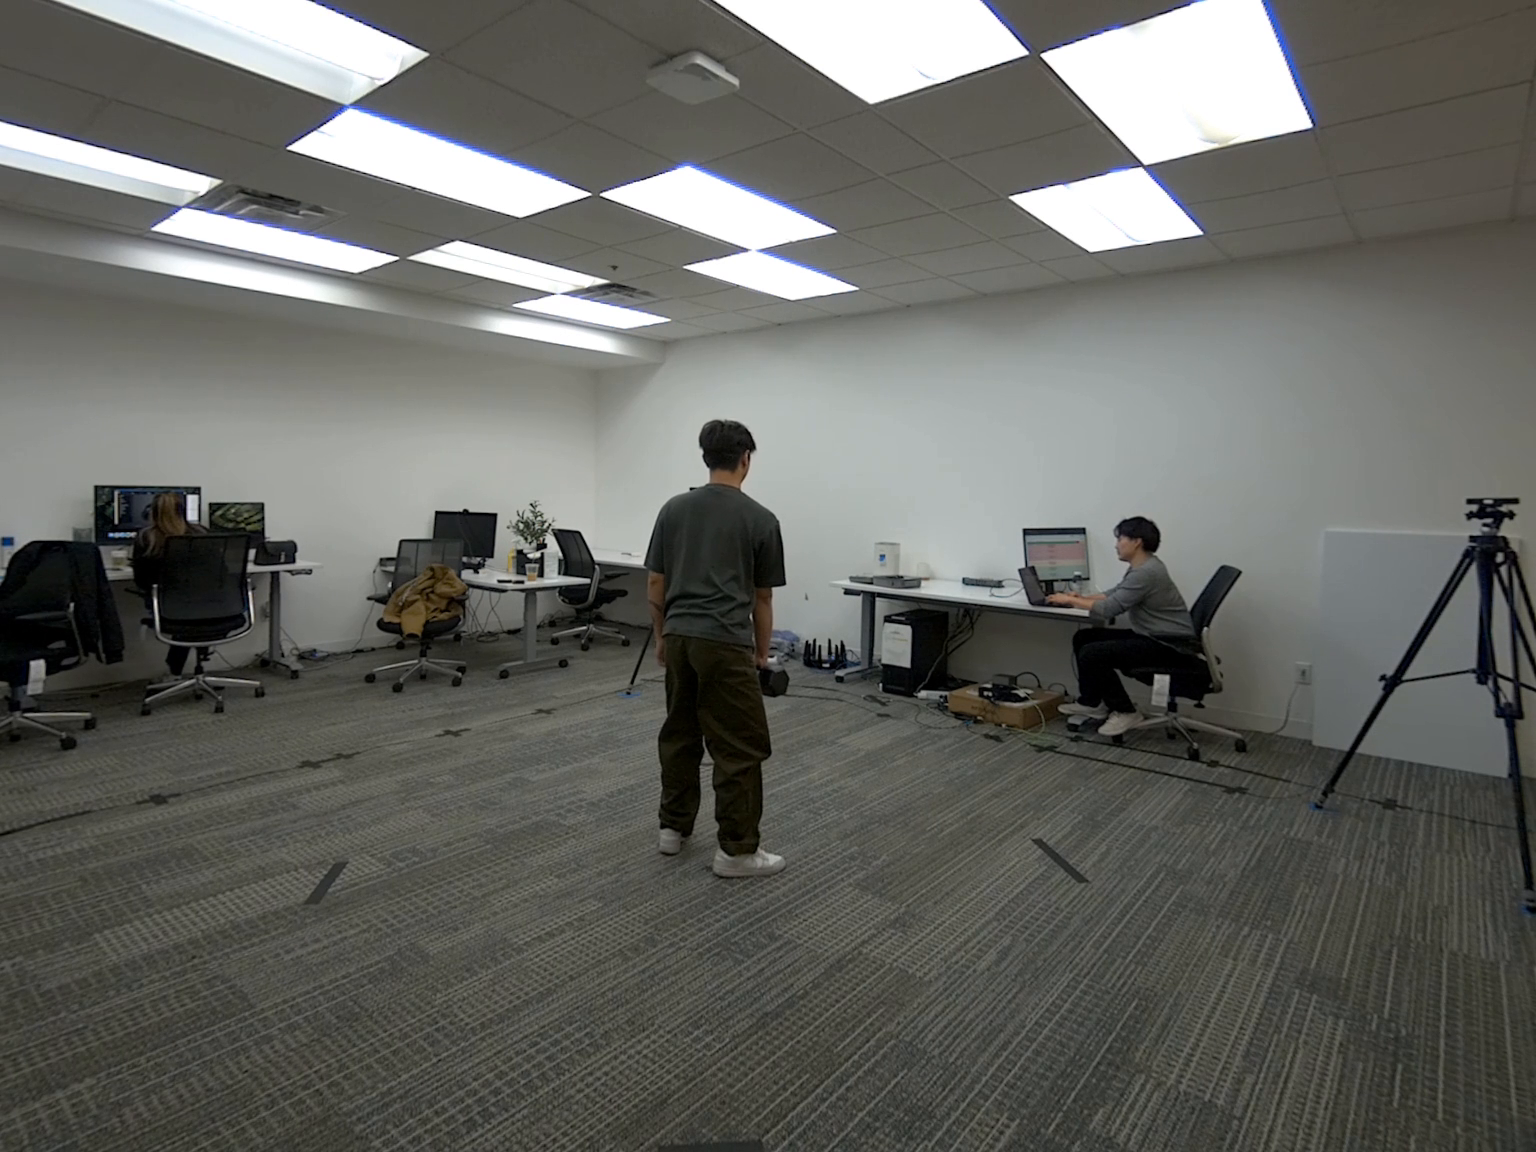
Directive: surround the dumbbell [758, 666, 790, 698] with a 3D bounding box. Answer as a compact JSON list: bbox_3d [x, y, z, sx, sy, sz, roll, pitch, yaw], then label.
[{"bbox_3d":[-0.069,0.389,3.282,0.303,0.124,0.104,5,-19,44],"label":"dumbbell"}]
